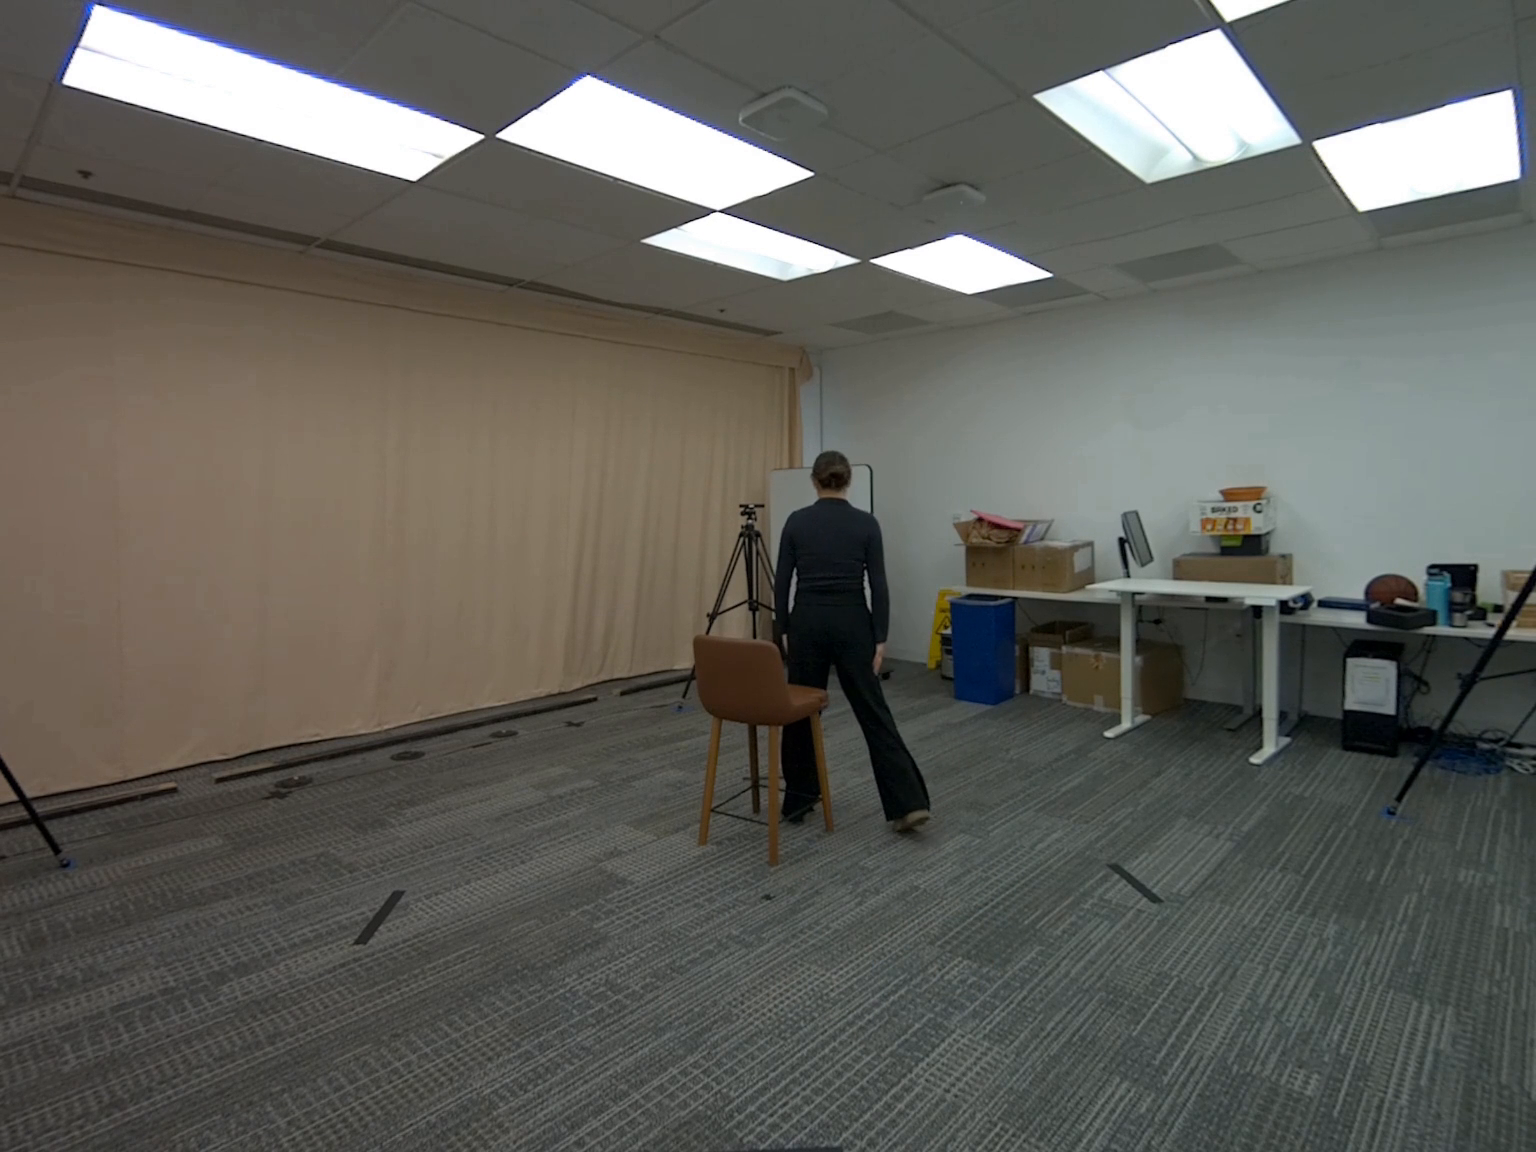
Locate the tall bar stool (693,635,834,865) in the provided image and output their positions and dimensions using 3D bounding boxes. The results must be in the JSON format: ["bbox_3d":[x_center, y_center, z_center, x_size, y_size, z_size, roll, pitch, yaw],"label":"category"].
[{"bbox_3d":[-0.020,0.659,3.504,0.471,0.887,0.454,1,5,35],"label":"tall bar stool"}]
